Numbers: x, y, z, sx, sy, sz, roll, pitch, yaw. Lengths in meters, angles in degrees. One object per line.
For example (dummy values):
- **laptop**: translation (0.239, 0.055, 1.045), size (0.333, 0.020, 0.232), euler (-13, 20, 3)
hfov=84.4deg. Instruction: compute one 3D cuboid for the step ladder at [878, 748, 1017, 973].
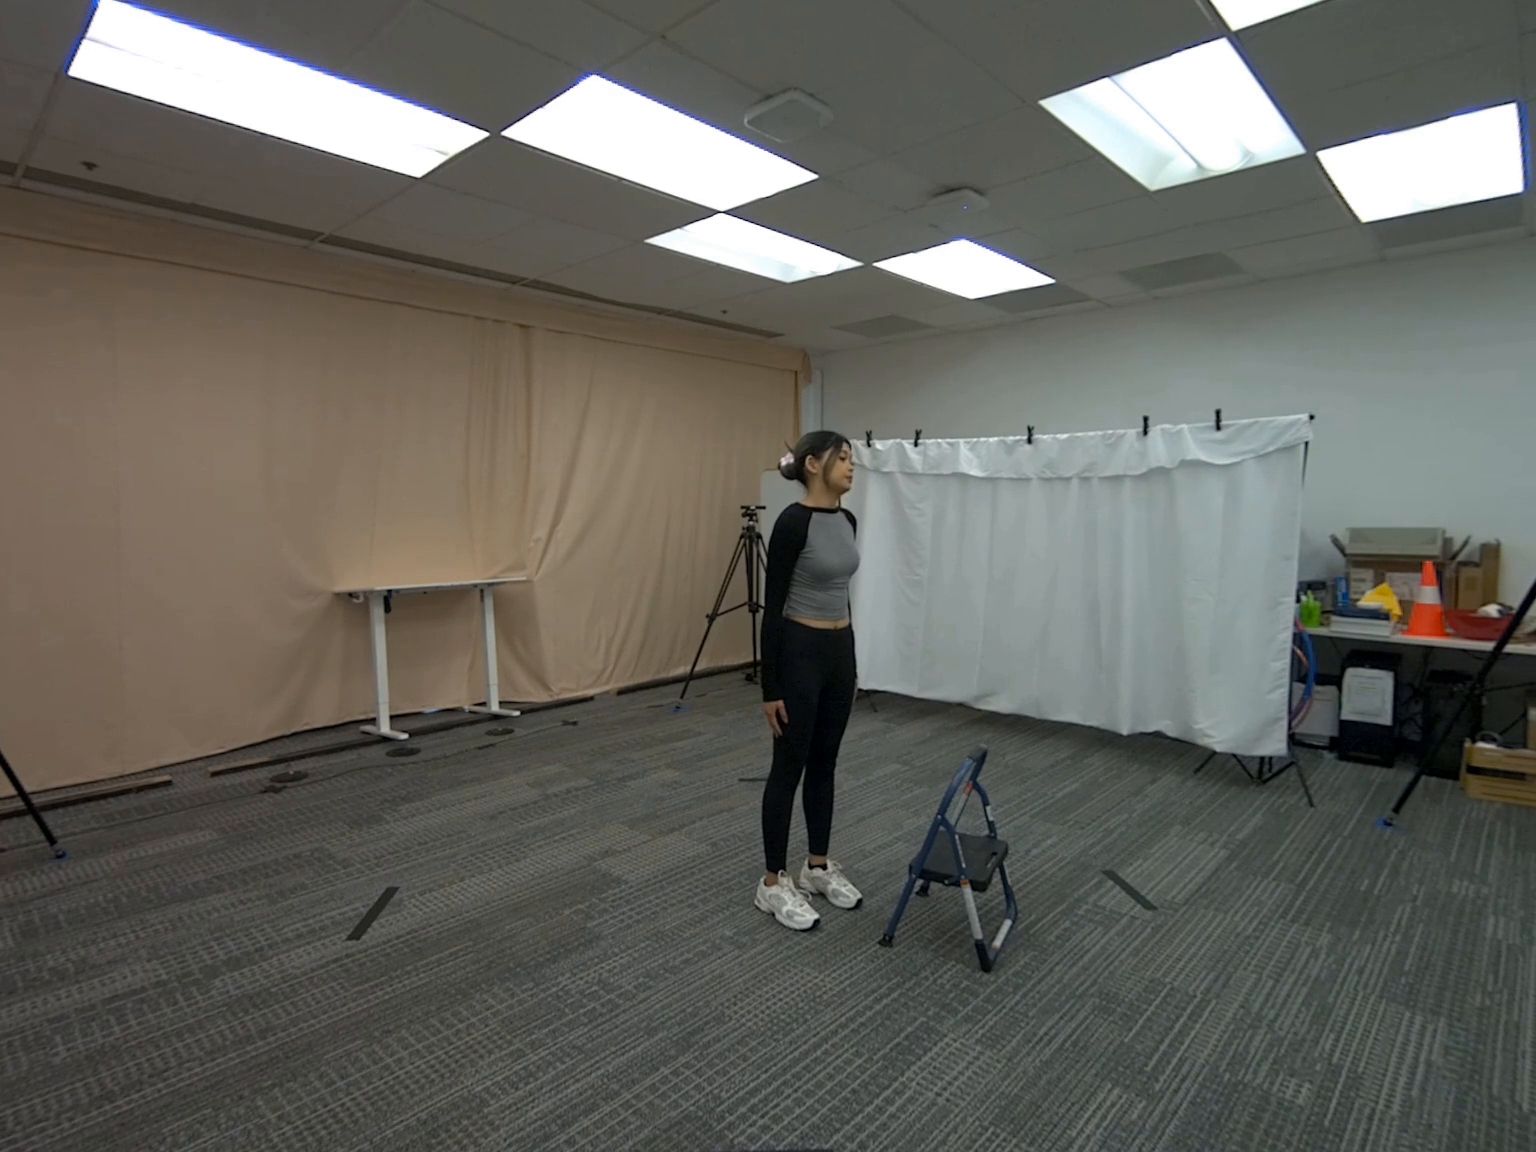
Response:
- **step ladder**: translation (0.605, 0.860, 2.743), size (0.359, 0.604, 0.420), euler (2, 4, 28)
